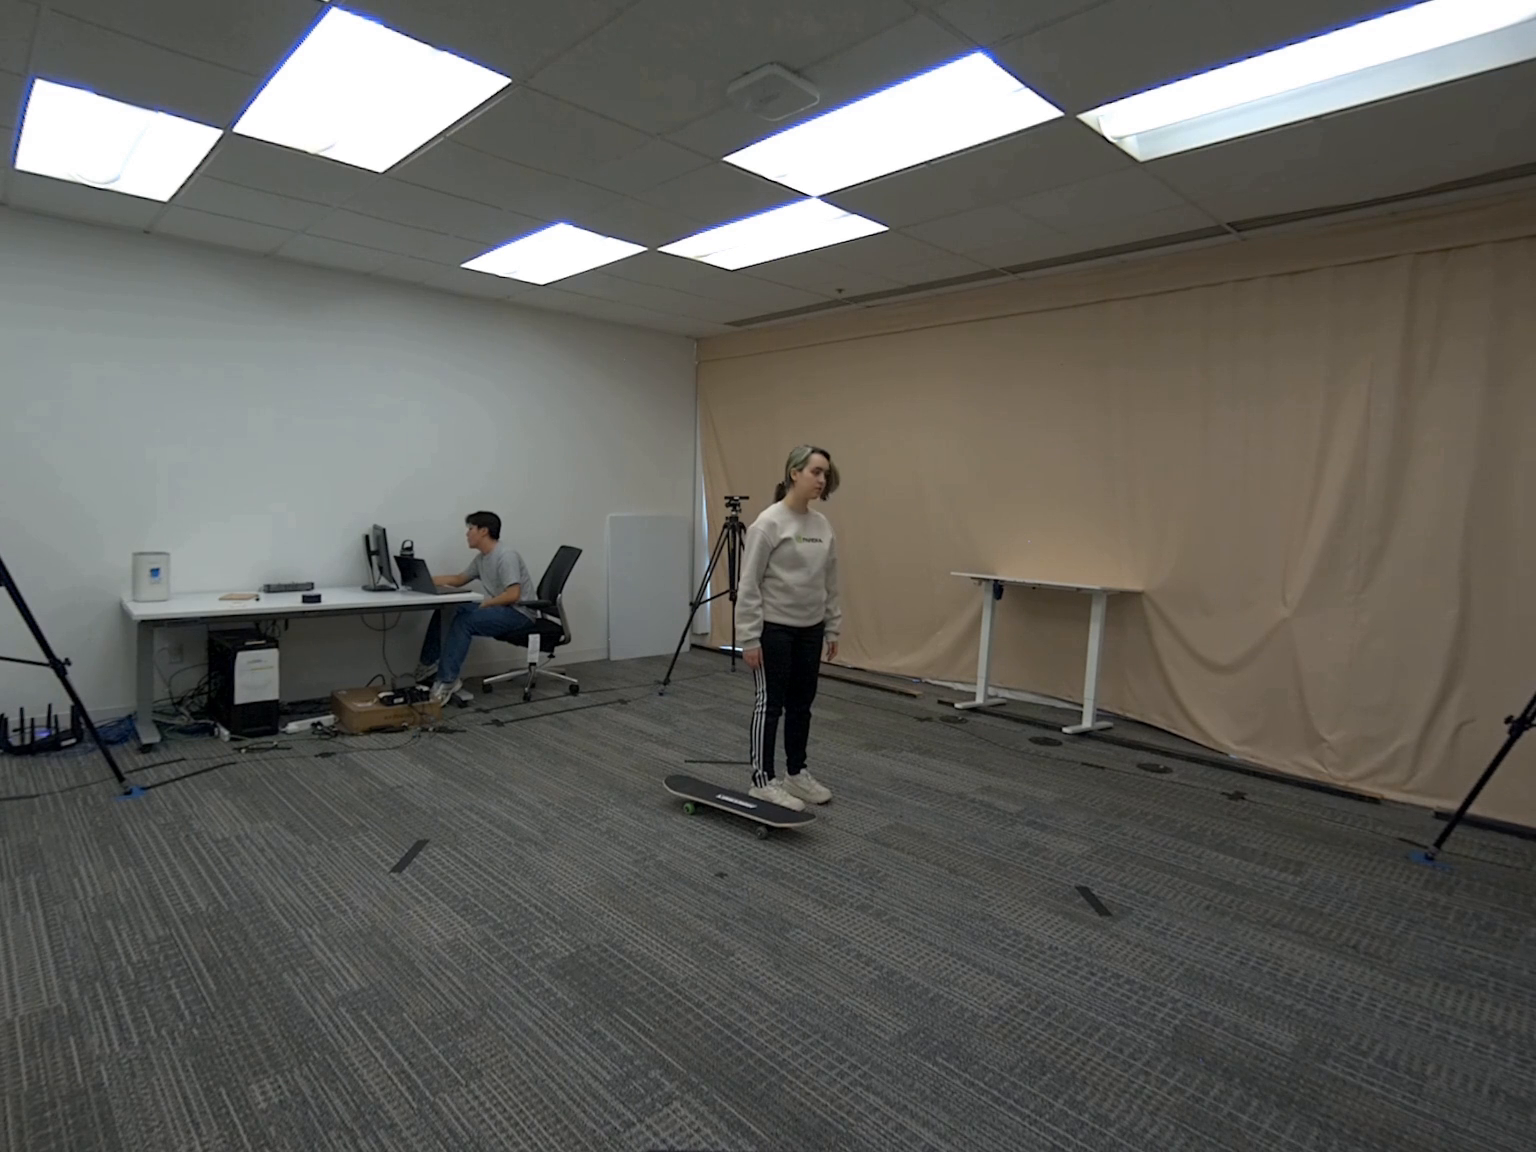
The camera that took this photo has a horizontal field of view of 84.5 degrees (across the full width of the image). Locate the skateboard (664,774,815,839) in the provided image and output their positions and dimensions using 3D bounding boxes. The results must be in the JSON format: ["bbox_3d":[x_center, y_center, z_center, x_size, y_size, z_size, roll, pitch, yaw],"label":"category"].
[{"bbox_3d":[-0.149,1.003,3.636,0.805,0.110,0.189,6,5,38],"label":"skateboard"}]
